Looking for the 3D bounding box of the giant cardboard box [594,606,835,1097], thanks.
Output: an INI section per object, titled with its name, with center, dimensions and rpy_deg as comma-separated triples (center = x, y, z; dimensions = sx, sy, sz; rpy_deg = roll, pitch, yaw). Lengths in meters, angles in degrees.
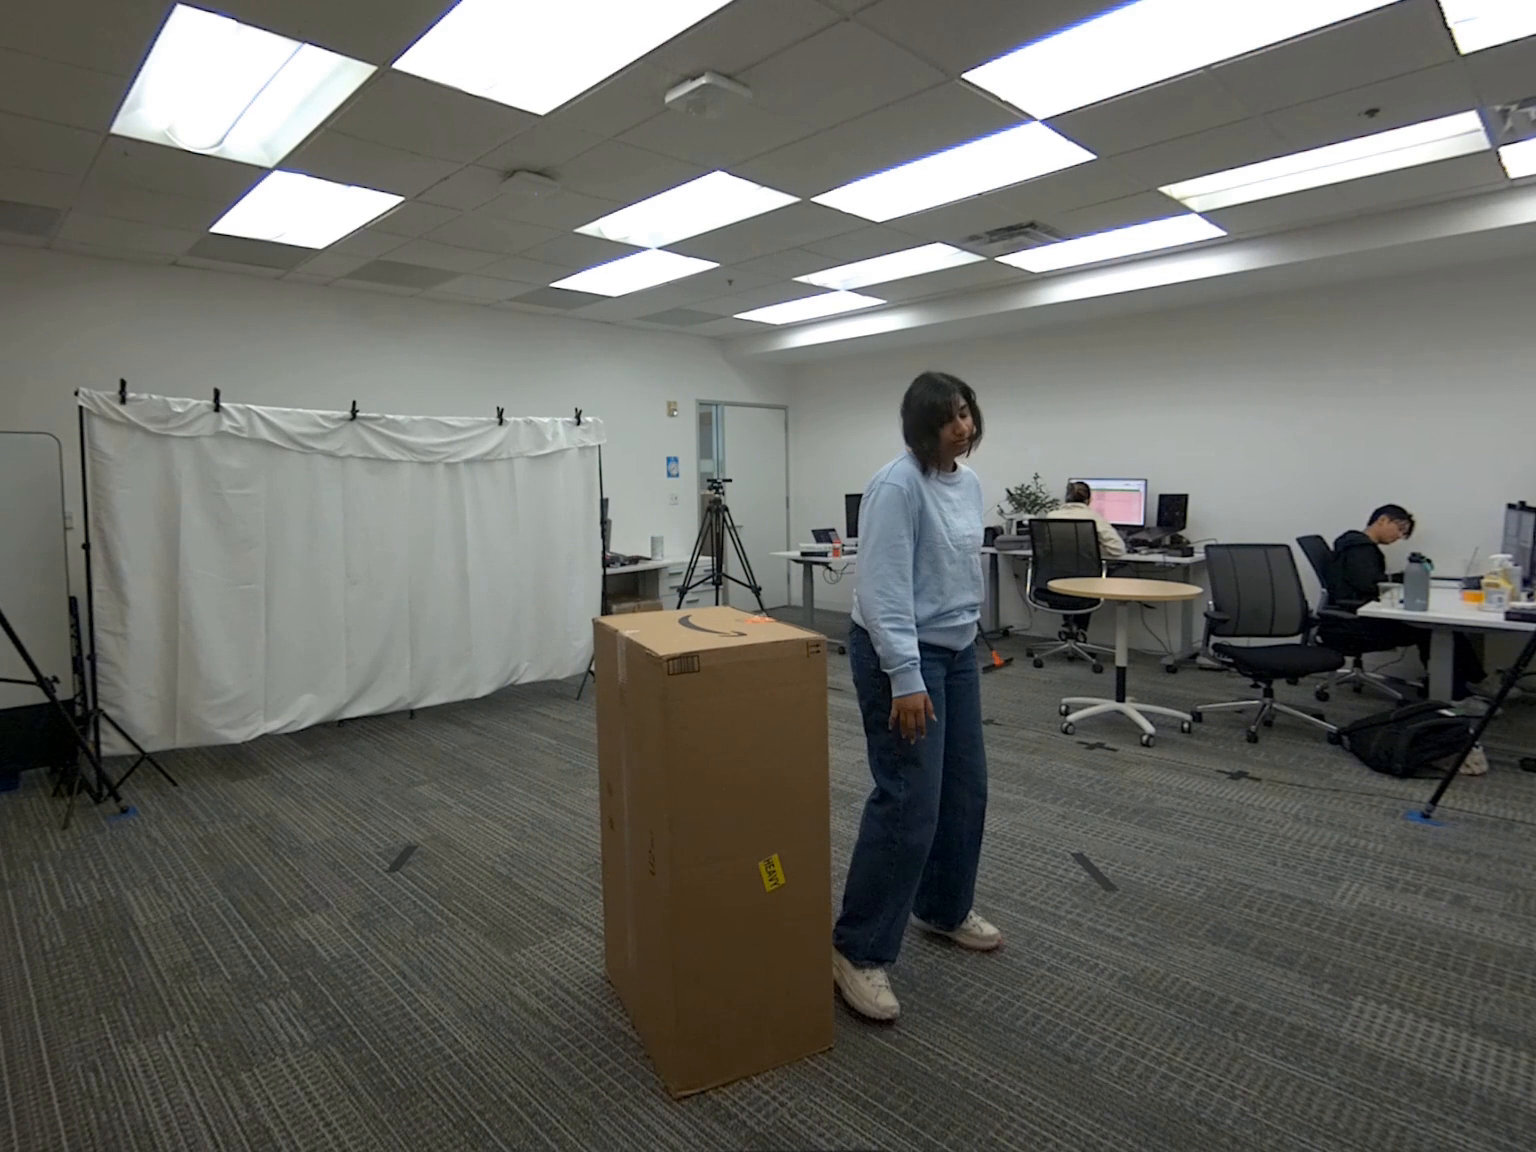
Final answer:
[giant cardboard box]
center = -0.155, 0.639, 2.241
dimensions = 0.417, 1.022, 0.592
rpy_deg = -3, 5, -26
